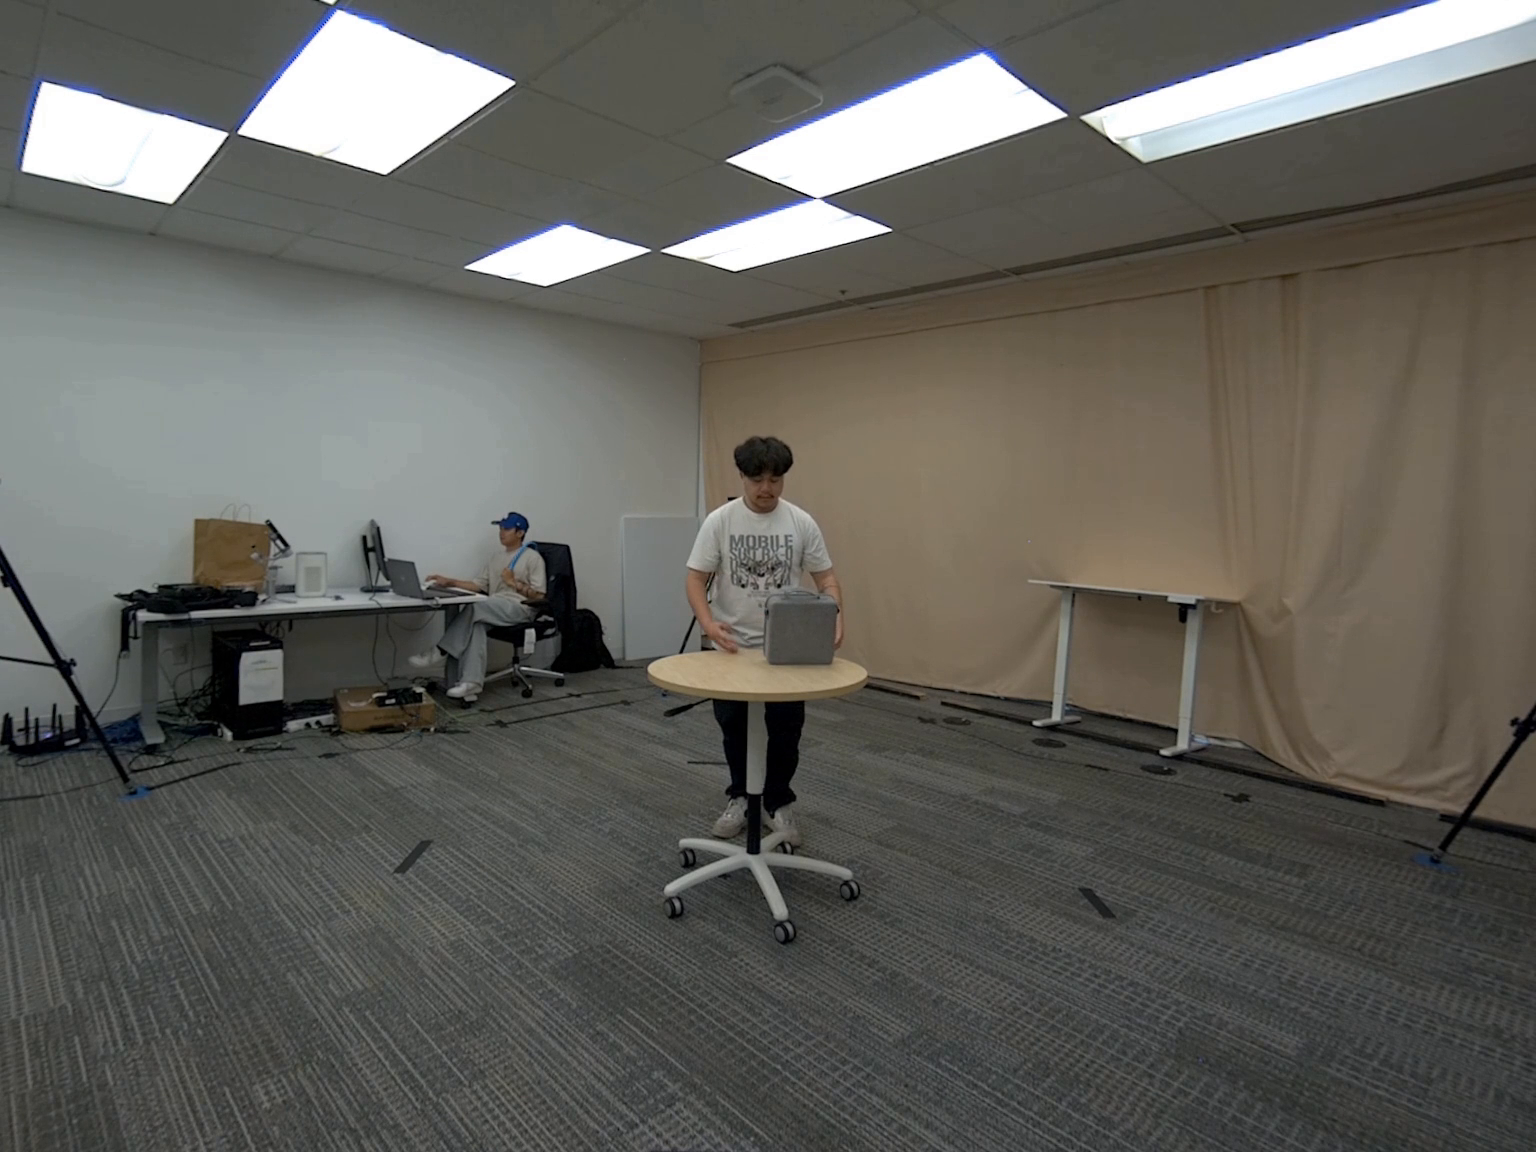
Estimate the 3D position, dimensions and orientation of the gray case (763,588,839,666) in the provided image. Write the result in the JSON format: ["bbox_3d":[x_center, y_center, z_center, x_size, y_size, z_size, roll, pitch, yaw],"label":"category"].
[{"bbox_3d":[0.111,0.184,3.037,0.255,0.258,0.106,1,16,-6],"label":"gray case"}]
